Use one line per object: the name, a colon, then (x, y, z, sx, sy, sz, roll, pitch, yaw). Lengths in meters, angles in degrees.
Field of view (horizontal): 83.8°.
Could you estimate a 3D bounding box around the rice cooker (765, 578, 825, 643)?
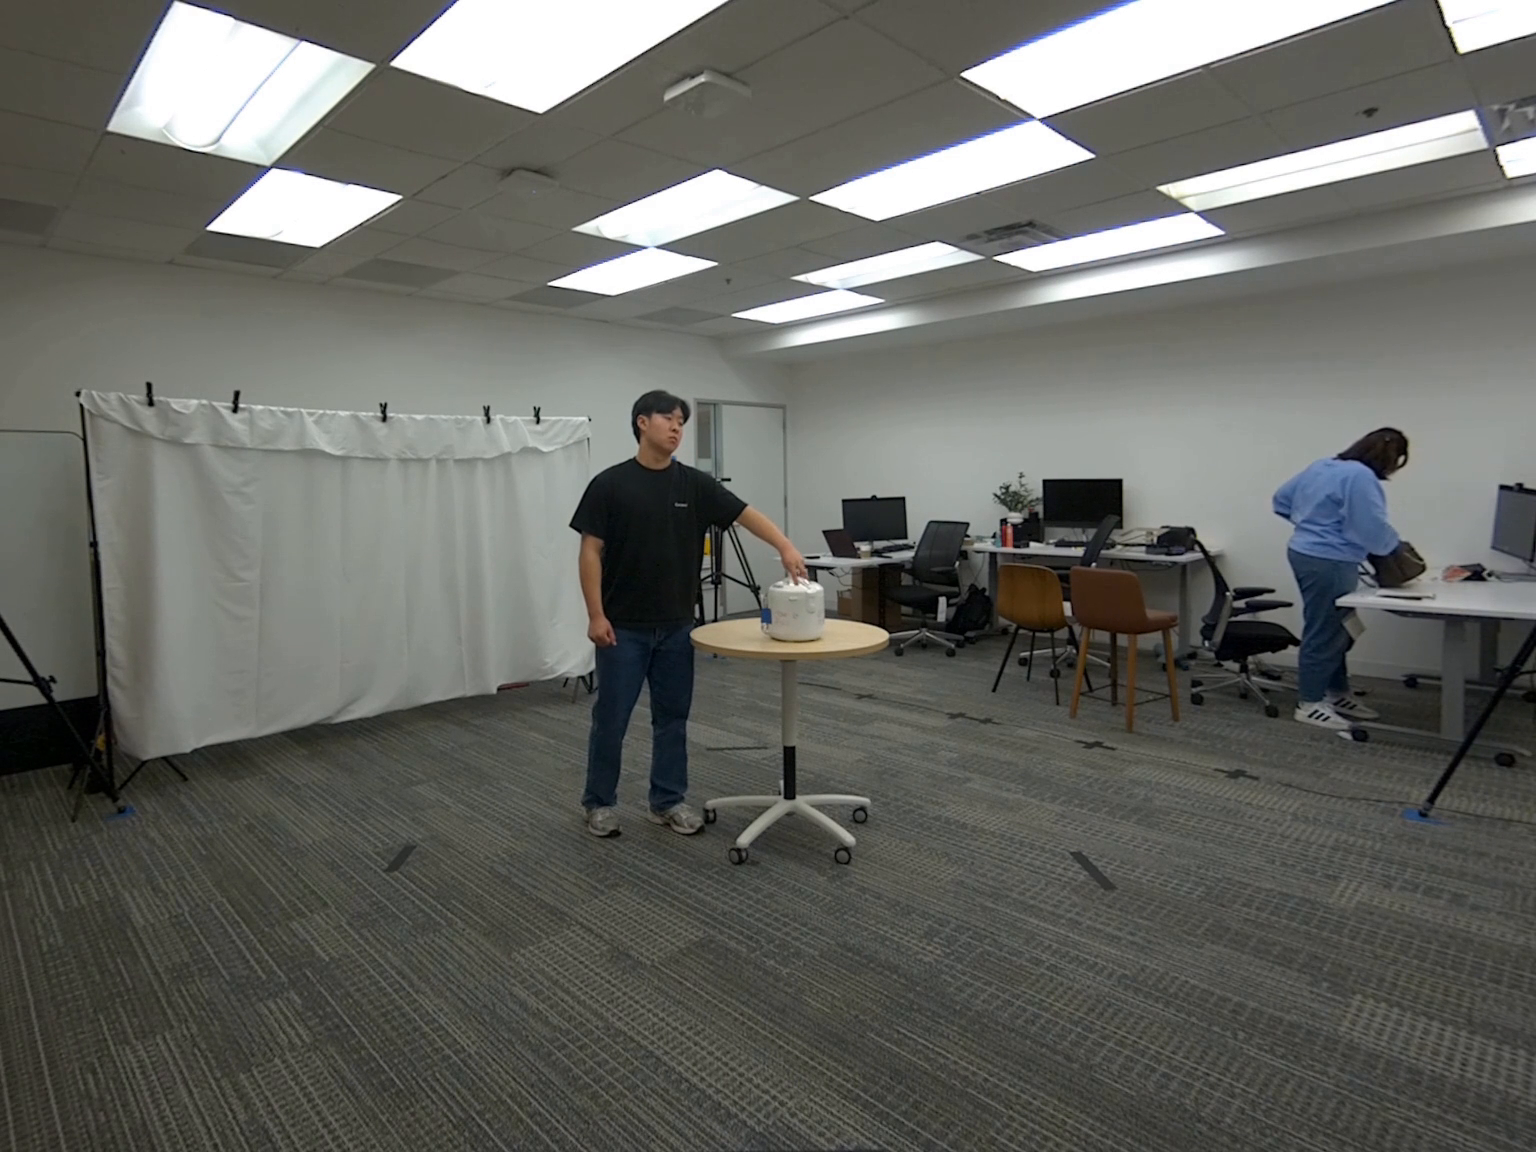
rice cooker: (0.107, 0.117, 3.191, 0.212, 0.231, 0.227, -4, 7, -28)
